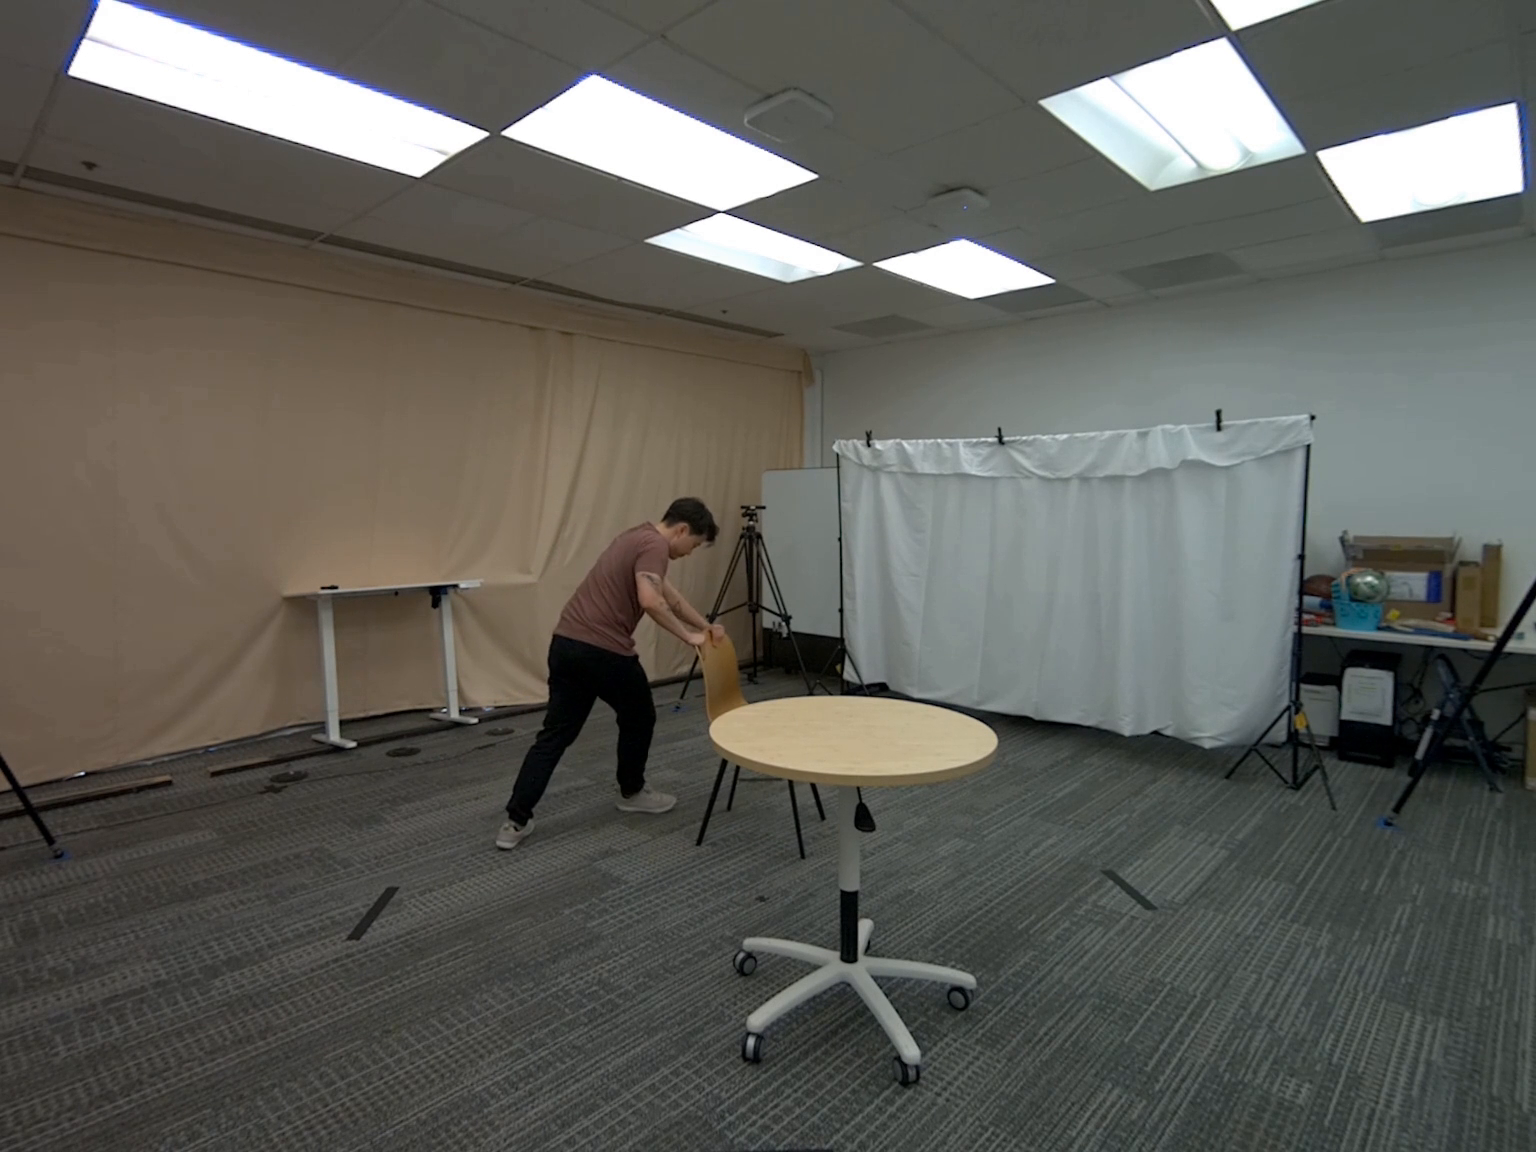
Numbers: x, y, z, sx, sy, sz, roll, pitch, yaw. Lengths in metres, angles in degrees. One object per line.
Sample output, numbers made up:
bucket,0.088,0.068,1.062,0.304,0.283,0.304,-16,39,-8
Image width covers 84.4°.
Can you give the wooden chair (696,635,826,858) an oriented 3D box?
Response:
wooden chair,-0.014,0.669,3.556,0.533,0.876,0.470,-4,2,17
